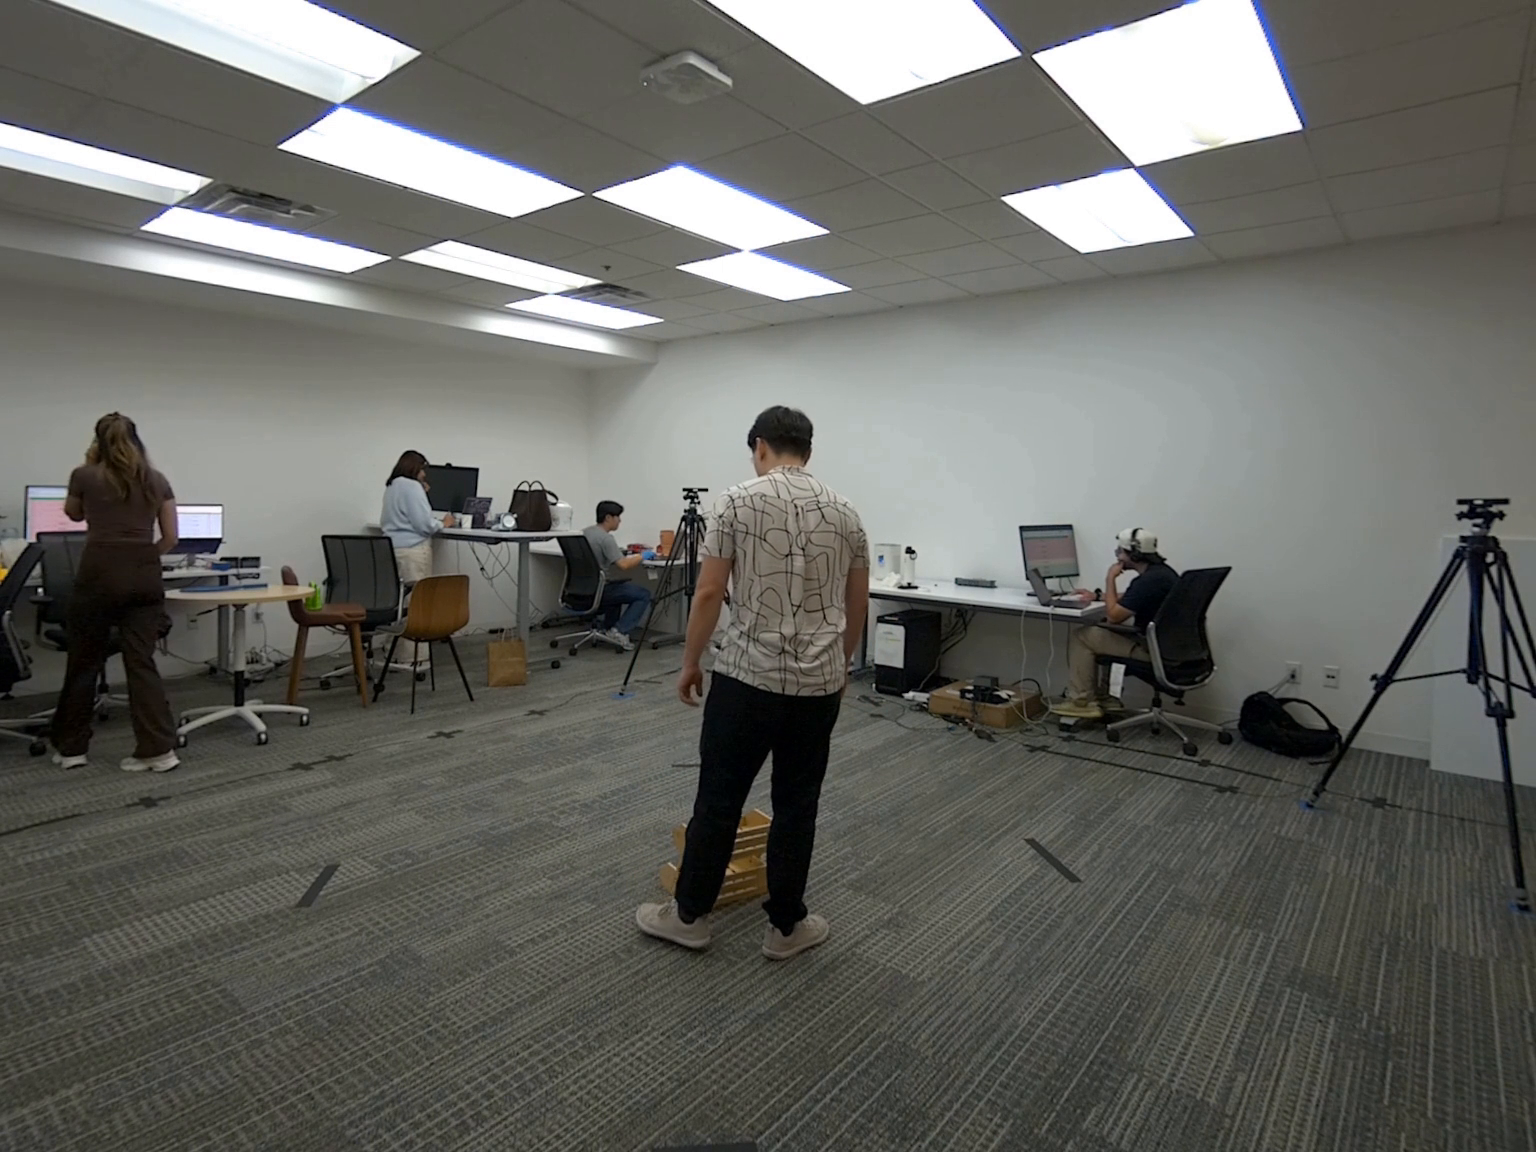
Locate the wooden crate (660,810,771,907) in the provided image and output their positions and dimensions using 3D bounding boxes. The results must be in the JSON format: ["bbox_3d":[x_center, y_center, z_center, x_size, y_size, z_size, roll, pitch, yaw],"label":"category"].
[{"bbox_3d":[-0.182,0.949,2.944,0.315,0.272,0.312,-1,6,-34],"label":"wooden crate"}]
